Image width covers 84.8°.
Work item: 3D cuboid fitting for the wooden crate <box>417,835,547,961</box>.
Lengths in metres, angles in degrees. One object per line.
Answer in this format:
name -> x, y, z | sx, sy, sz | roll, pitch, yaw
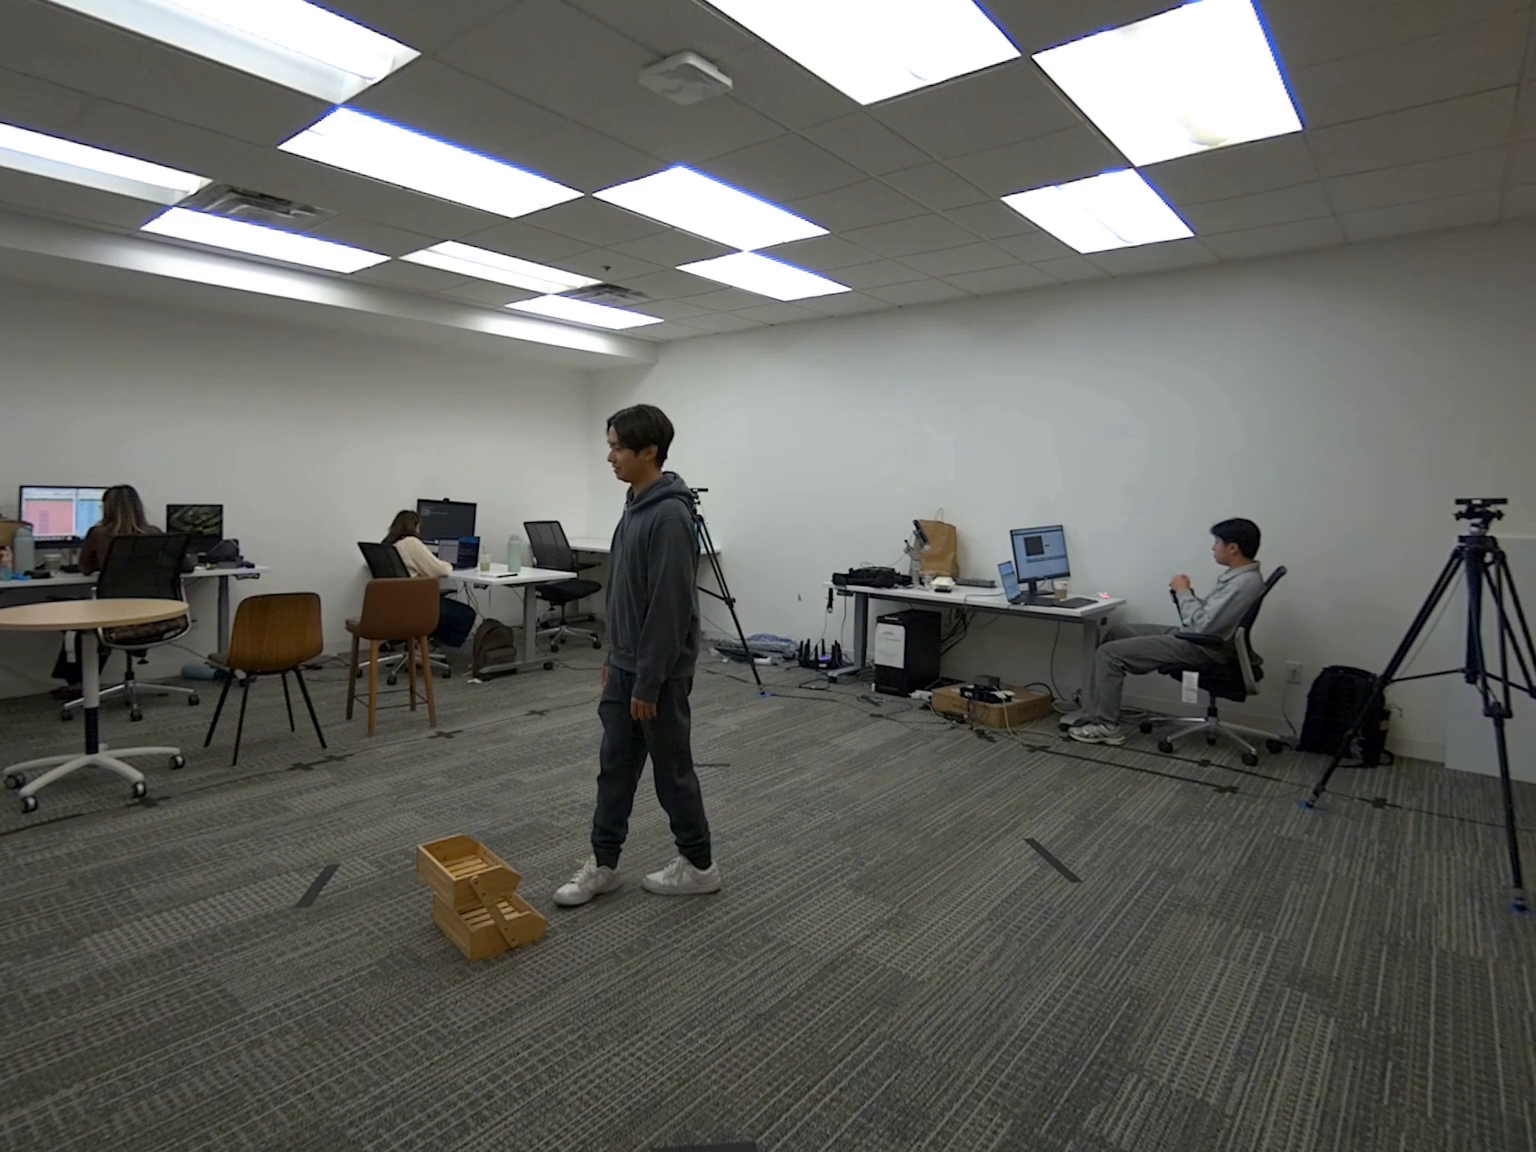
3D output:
wooden crate -> -0.900, 0.970, 2.645 | 0.293, 0.272, 0.335 | -4, 6, -41
